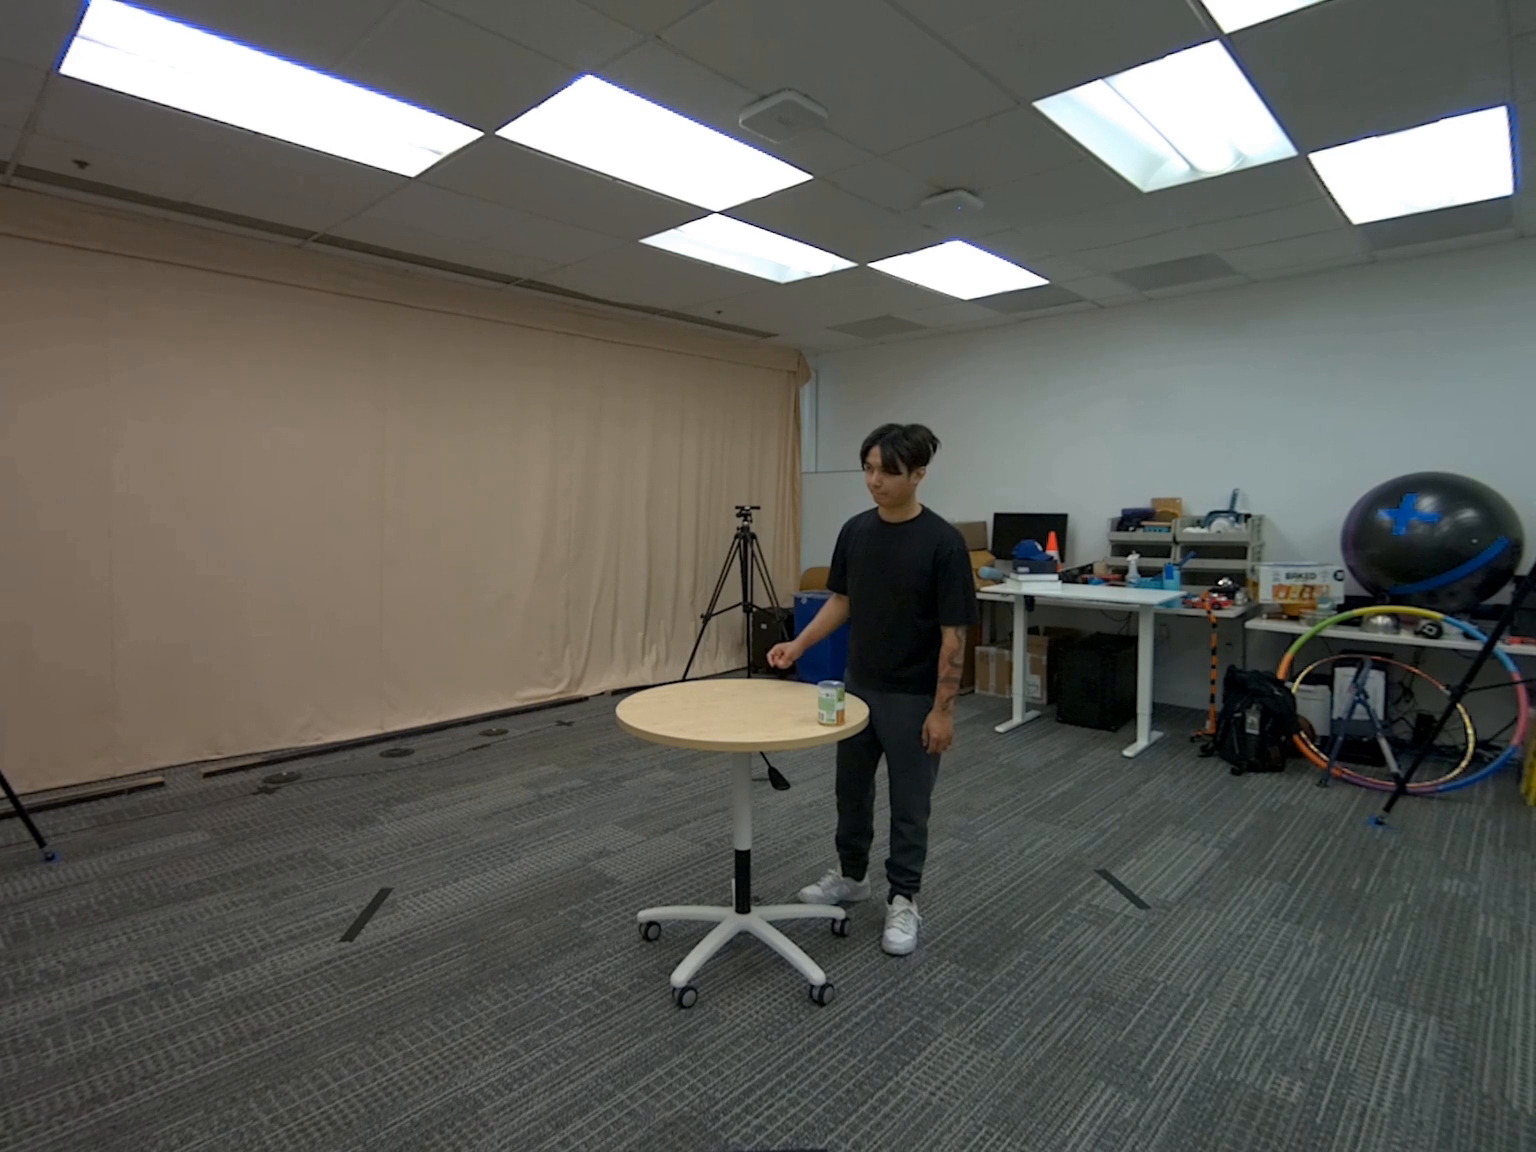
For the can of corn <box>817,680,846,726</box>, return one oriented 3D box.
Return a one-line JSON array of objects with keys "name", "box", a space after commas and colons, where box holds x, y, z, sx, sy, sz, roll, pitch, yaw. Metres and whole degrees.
[{"name": "can of corn", "box": [0.183, 0.357, 2.359, 0.074, 0.111, 0.074, 1, 4, -2]}]
